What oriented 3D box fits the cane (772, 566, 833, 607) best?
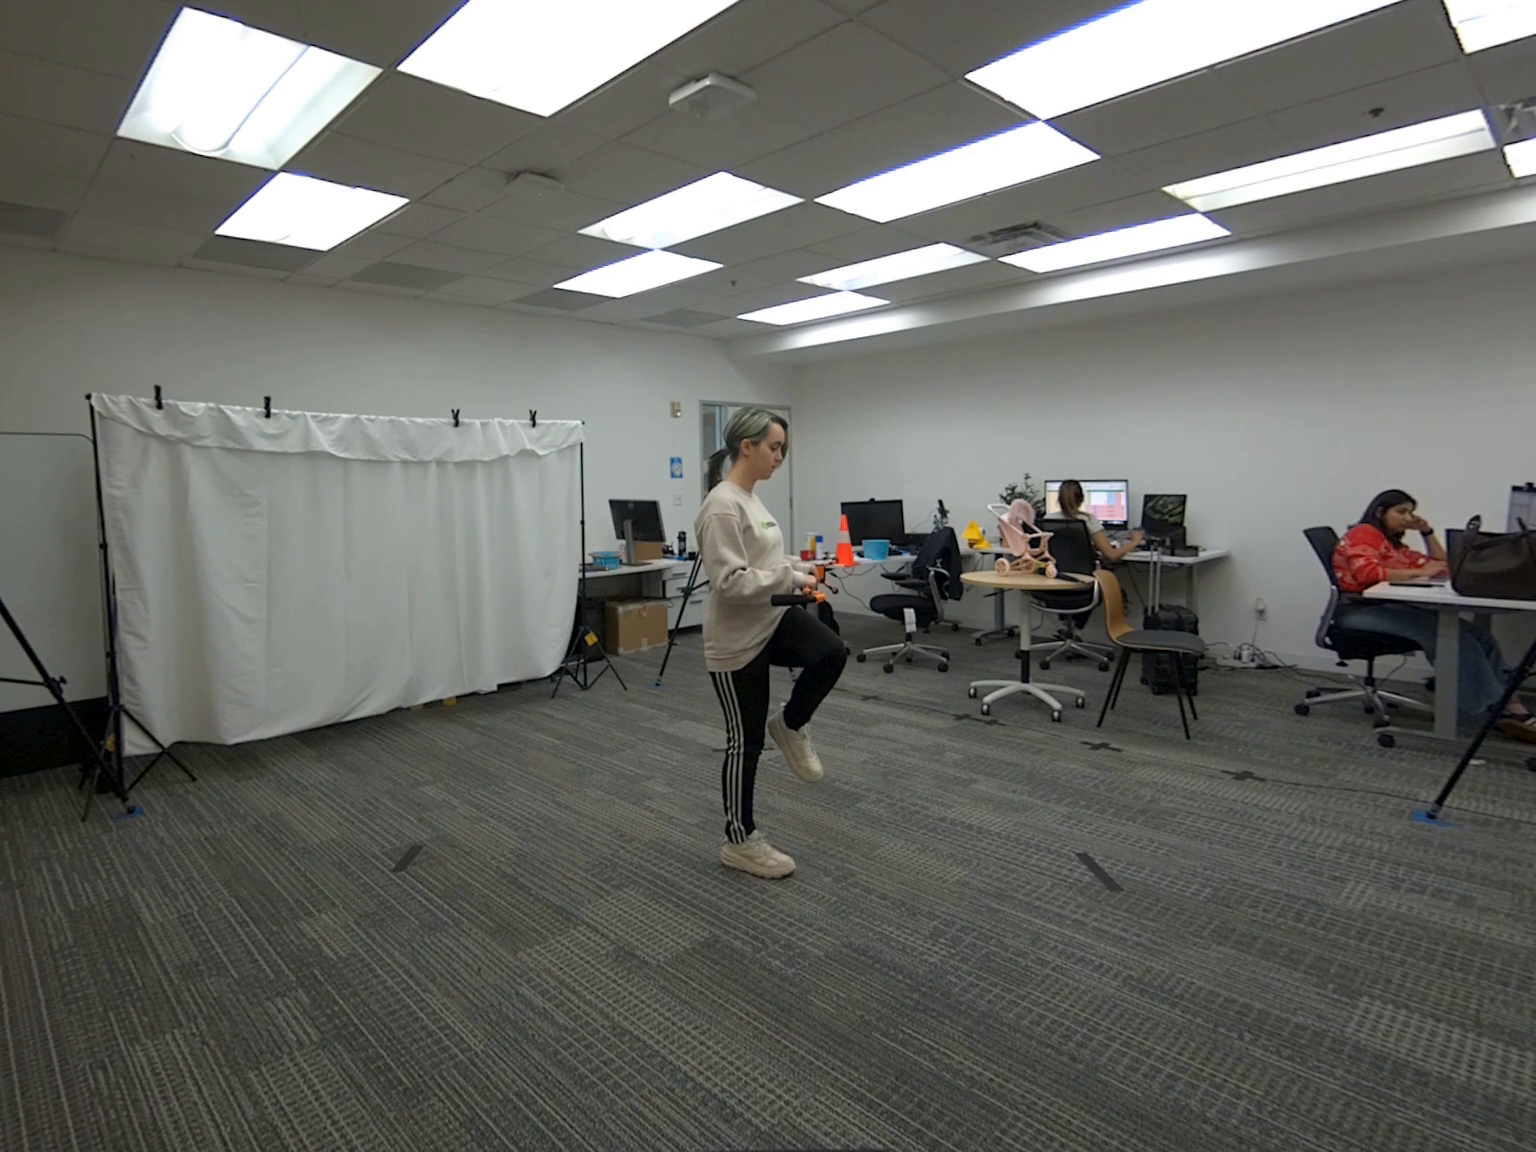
[{"bbox_3d":[0.171,0.046,2.991,0.207,0.151,0.907,1,6,4],"label":"cane"}]
